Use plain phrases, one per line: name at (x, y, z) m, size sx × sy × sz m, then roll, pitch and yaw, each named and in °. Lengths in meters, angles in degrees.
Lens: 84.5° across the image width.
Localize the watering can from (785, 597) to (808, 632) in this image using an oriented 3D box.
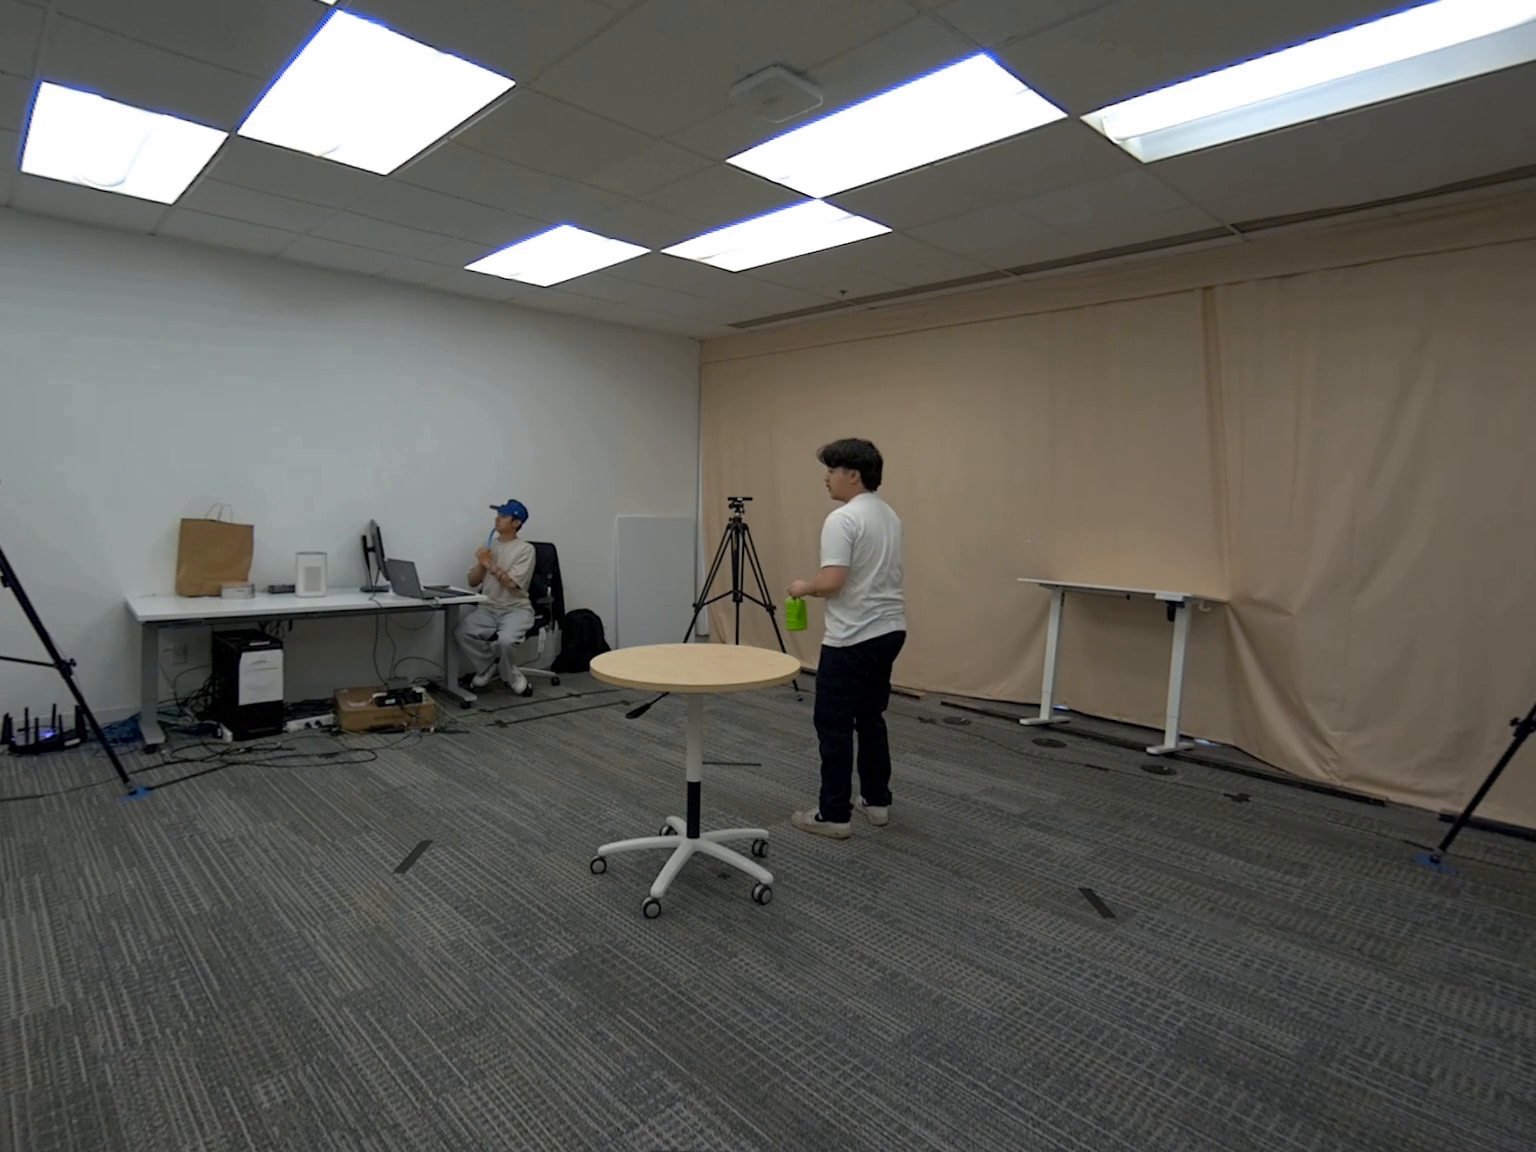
watering can at (0.129, 0.154, 3.833) m, size 0.098 × 0.177 × 0.277 m, roll 0°, pitch 2°, yaw 4°
